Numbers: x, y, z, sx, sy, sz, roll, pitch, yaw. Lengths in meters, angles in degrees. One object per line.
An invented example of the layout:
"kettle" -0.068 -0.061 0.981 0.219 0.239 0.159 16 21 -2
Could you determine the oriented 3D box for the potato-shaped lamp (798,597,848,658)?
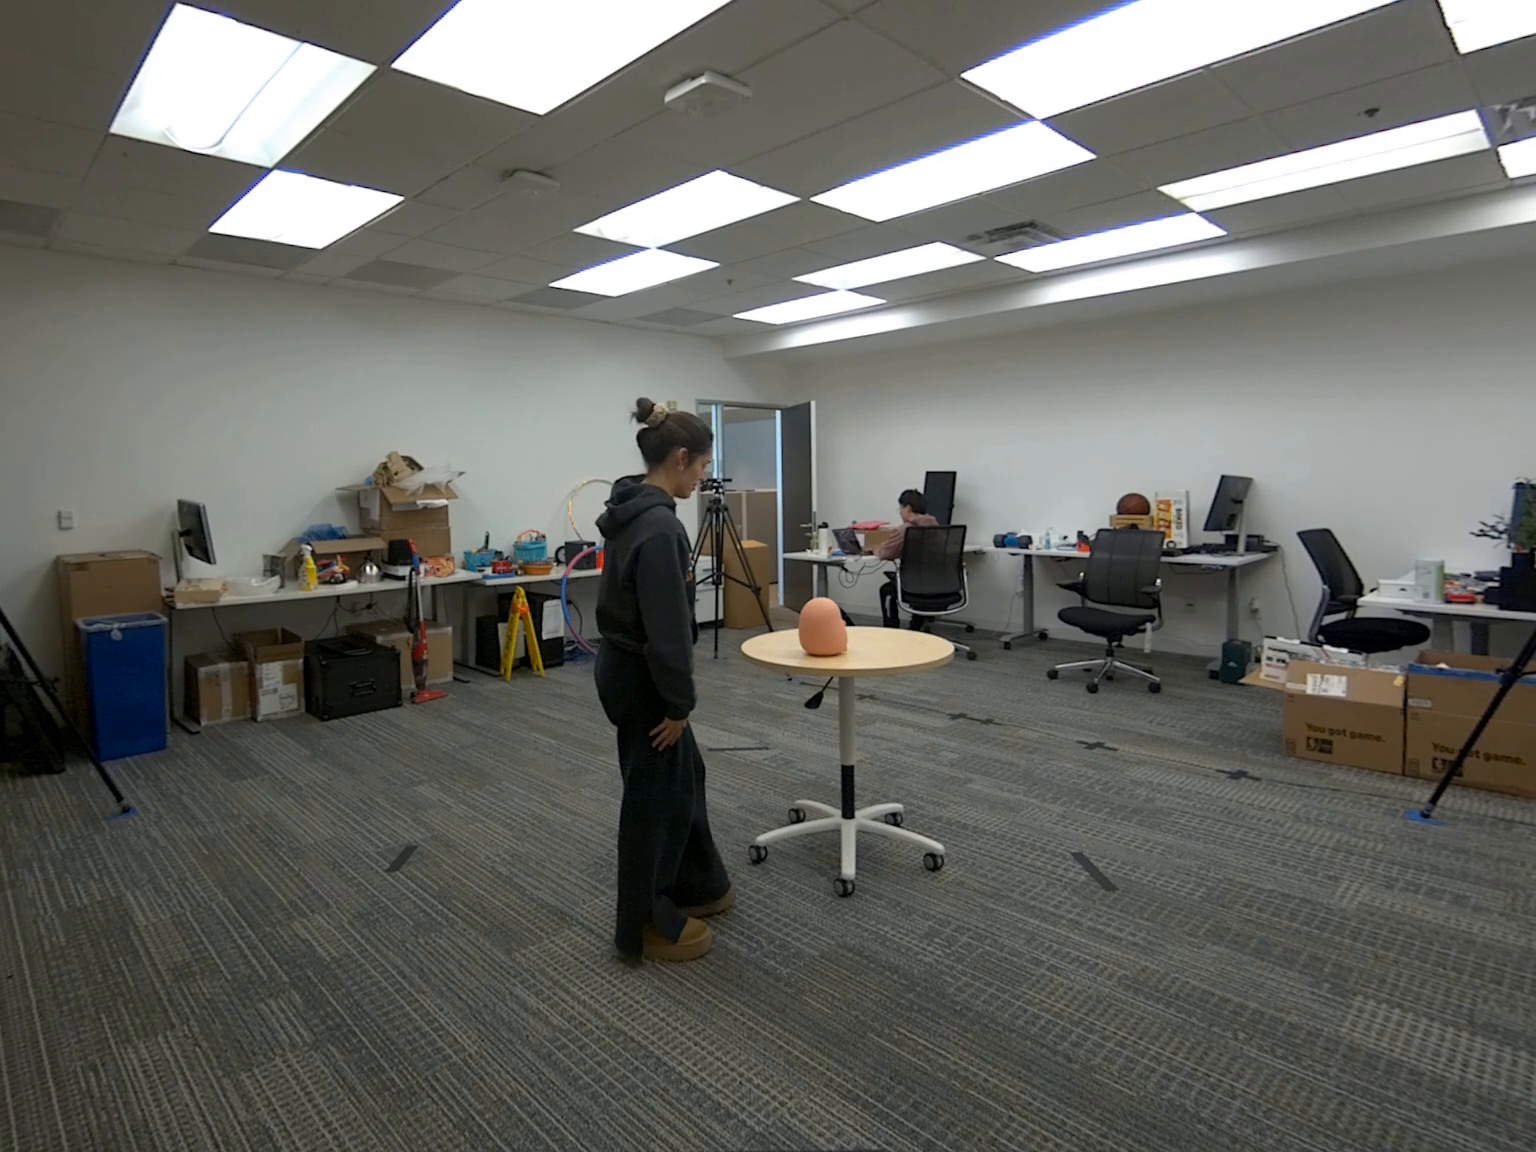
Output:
"potato-shaped lamp" 0.193 0.174 2.970 0.170 0.197 0.167 3 8 44
